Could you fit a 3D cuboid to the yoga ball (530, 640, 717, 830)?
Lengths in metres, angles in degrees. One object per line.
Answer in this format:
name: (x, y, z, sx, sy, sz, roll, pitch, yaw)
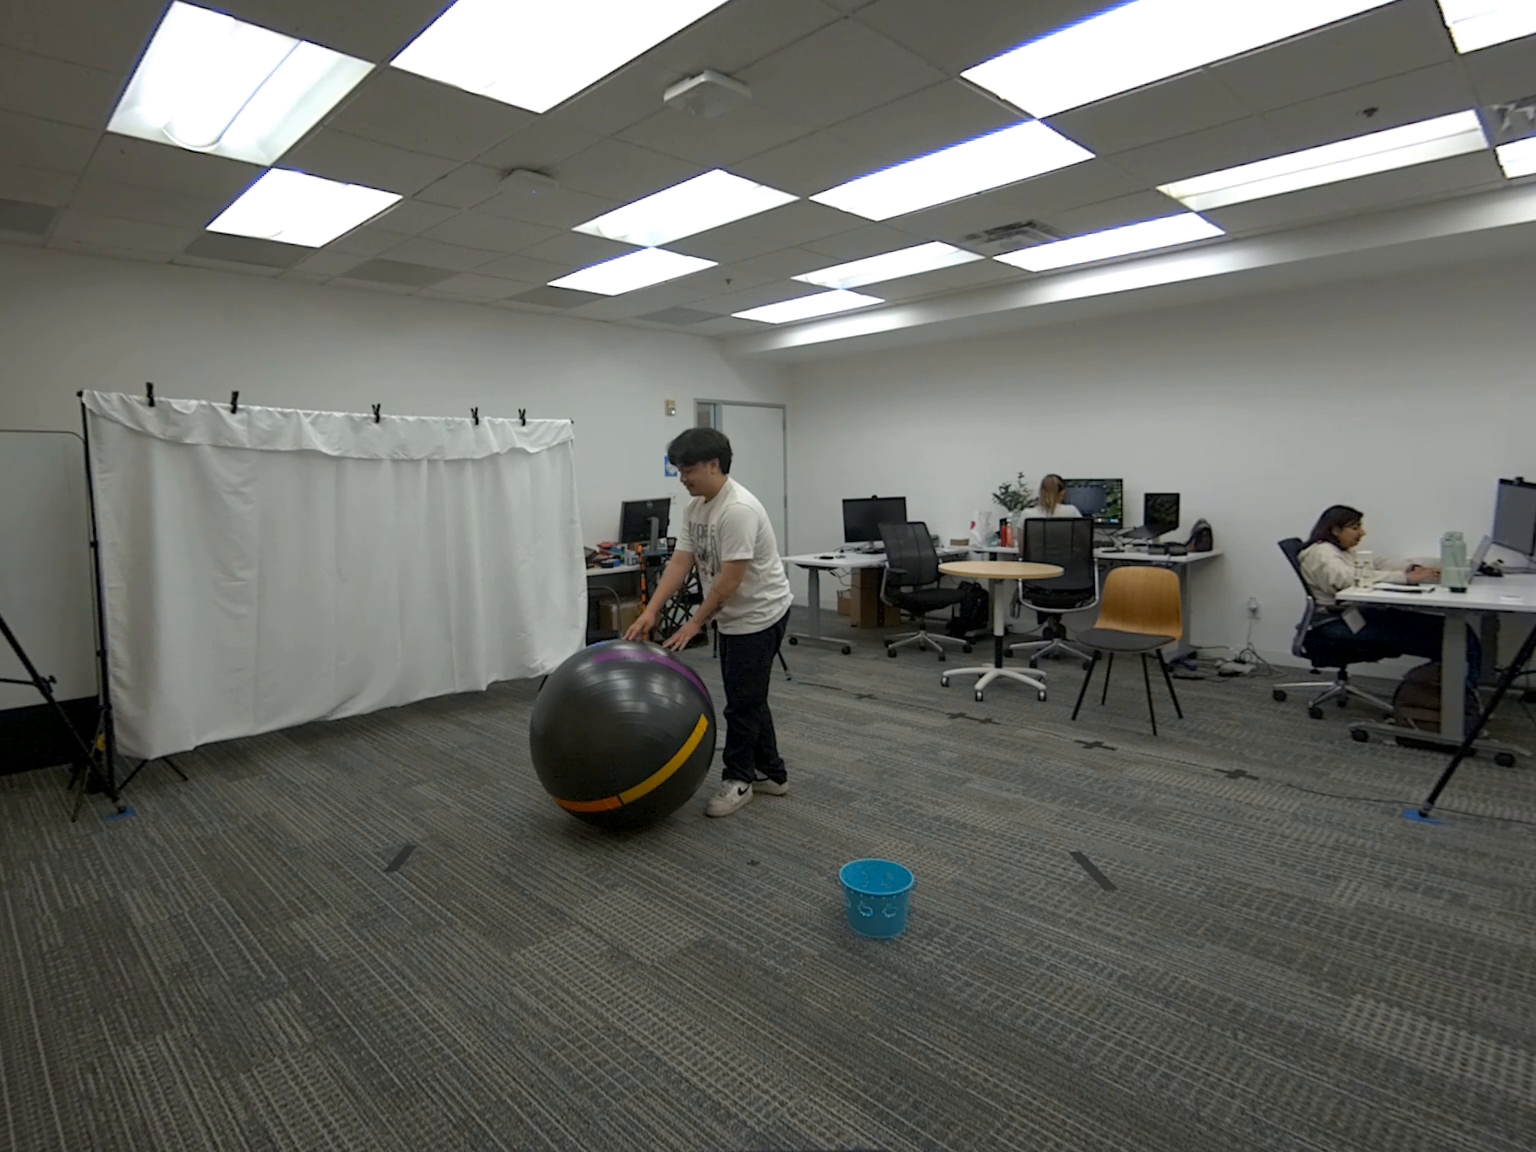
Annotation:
yoga ball: (-0.592, 0.642, 3.496, 0.757, 0.755, 0.762, -1, 5, -2)
